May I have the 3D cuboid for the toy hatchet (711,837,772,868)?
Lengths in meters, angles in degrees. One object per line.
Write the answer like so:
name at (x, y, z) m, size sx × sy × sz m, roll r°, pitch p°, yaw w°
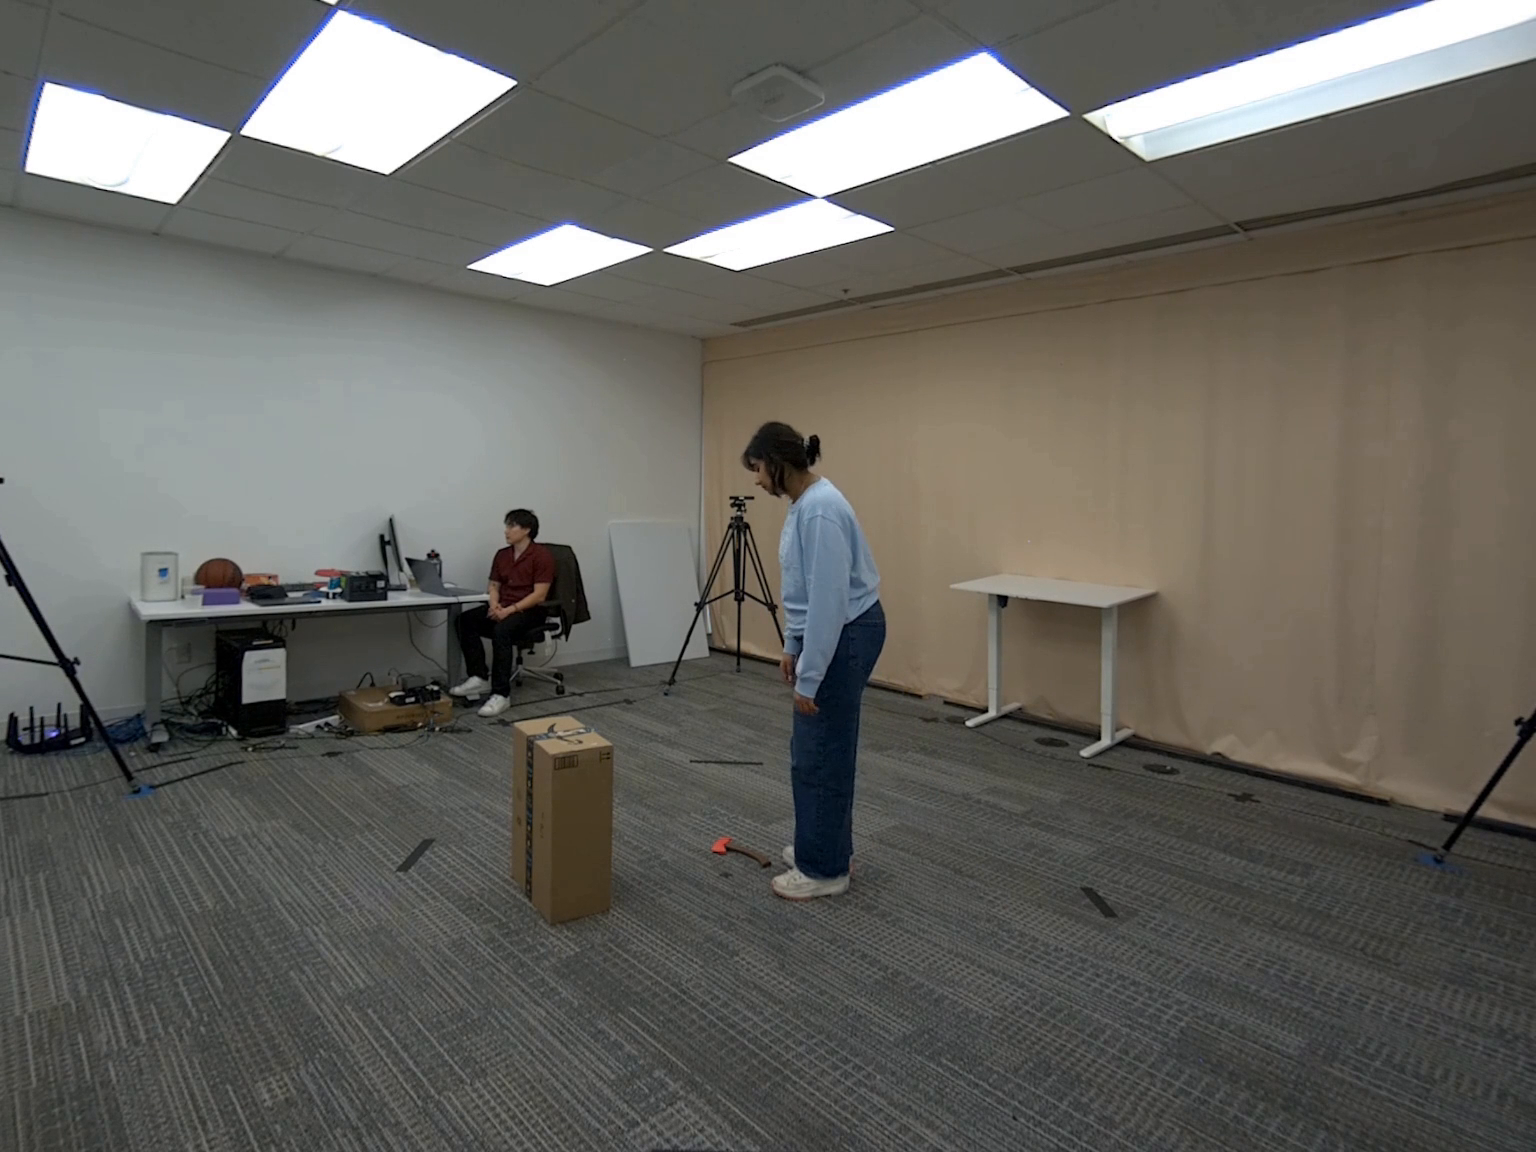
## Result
toy hatchet at (-0.123, 1.078, 3.260) m, size 0.128 × 0.029 × 0.277 m, roll -3°, pitch 9°, yaw -37°
